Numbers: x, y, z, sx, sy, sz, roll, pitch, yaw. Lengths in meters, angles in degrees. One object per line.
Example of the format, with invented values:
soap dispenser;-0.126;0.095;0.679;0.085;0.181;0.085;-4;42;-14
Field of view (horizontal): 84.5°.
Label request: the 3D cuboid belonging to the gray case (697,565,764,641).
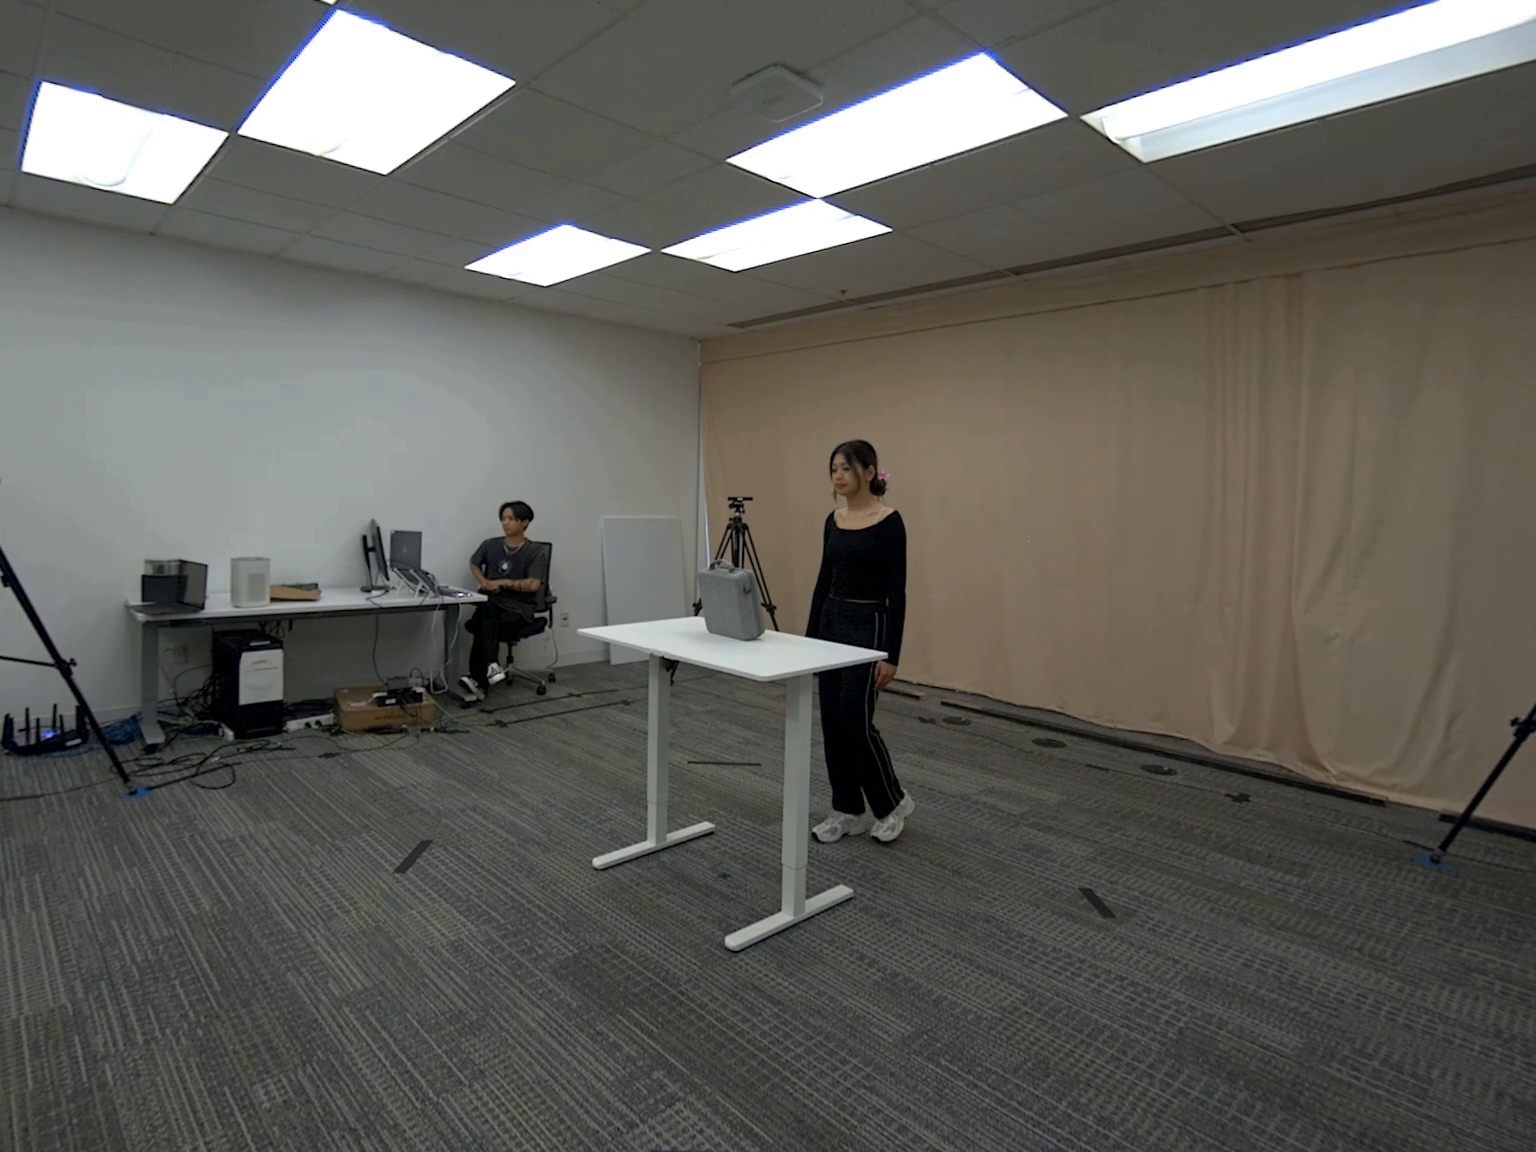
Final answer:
gray case;-0.143;0.095;3.094;0.103;0.258;0.263;-17;14;-35
